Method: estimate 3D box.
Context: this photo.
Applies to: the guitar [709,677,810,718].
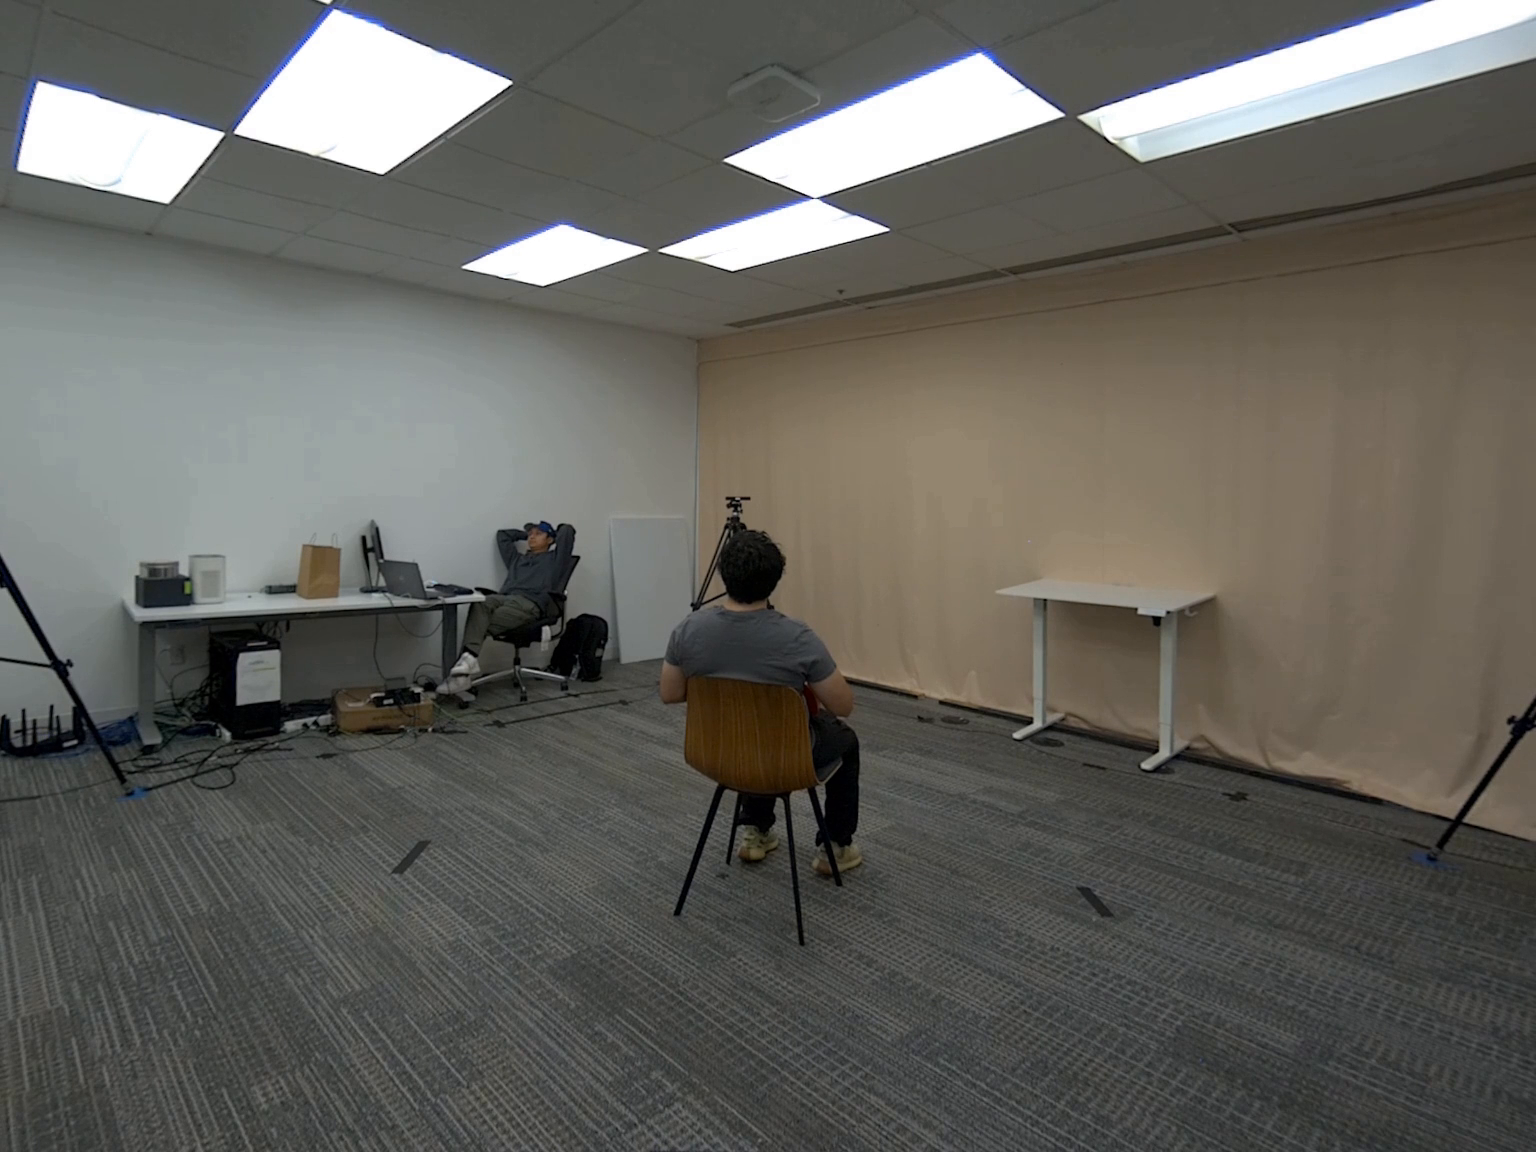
[{"bbox_3d":[-0.017,0.362,2.994,0.511,0.187,0.071,11,49,37],"label":"guitar"}]
